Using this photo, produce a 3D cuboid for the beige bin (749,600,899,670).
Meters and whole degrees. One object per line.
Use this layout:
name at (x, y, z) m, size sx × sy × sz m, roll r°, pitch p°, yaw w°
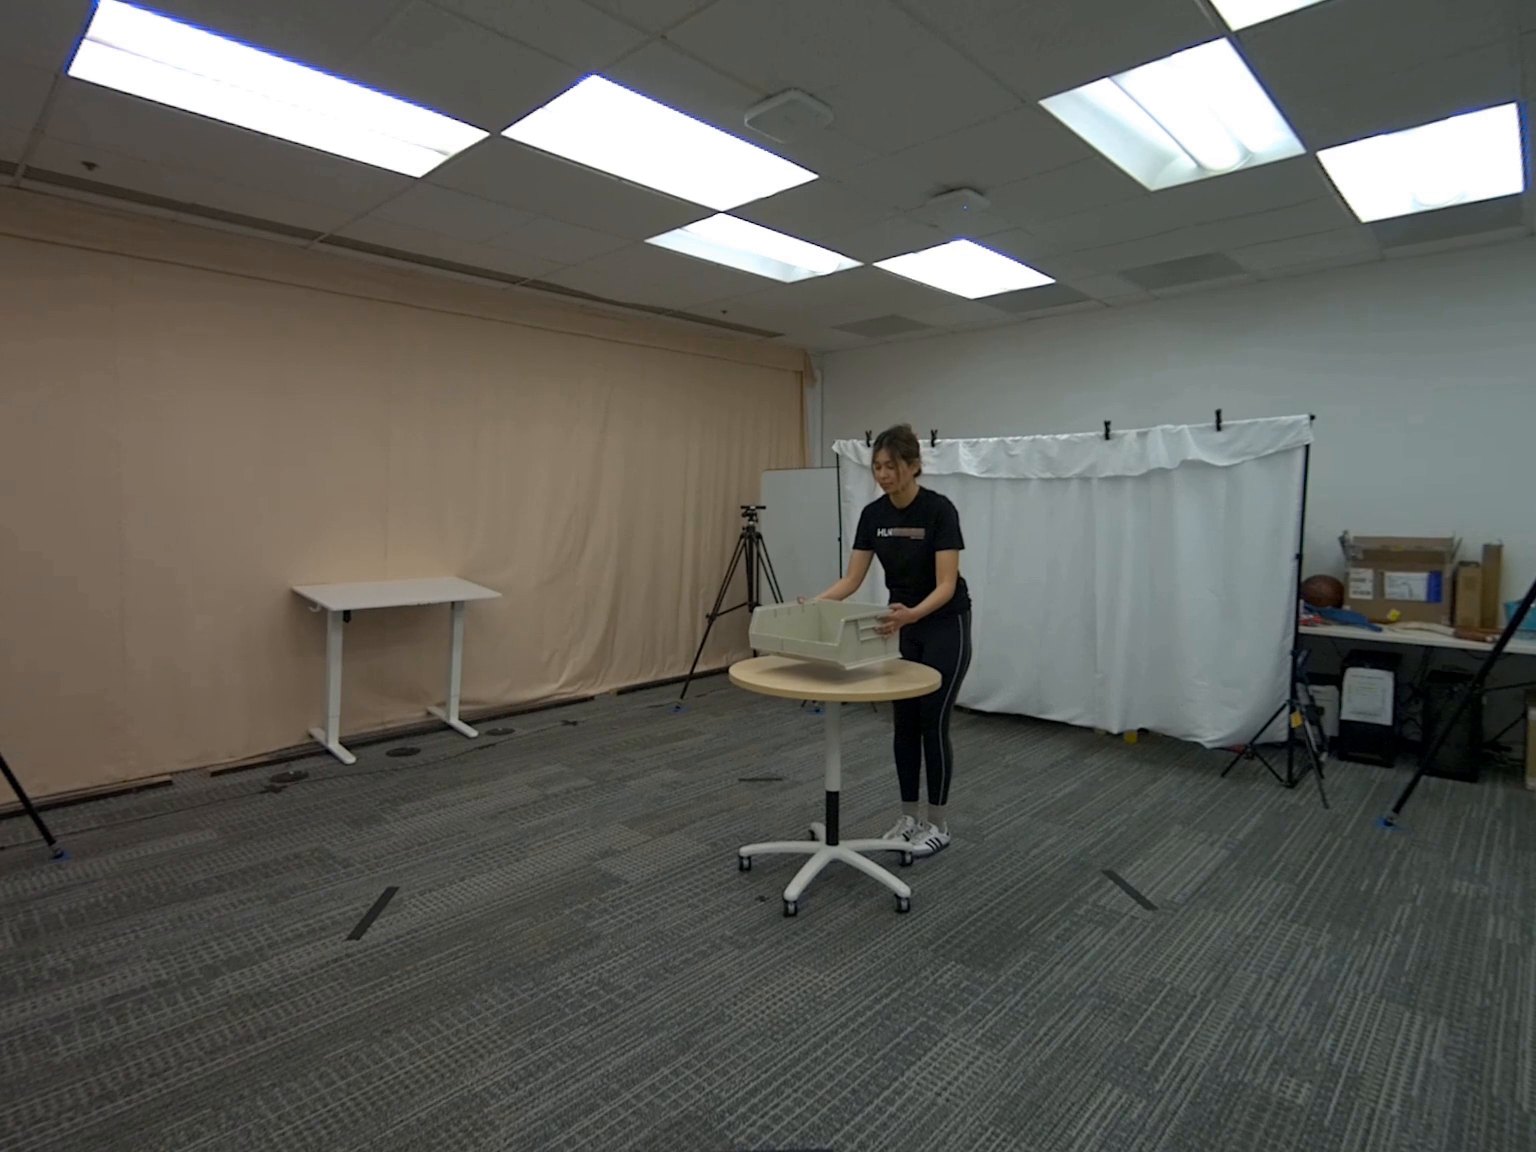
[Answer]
beige bin at (0.214, 0.207, 3.040) m, size 0.366 × 0.188 × 0.436 m, roll -4°, pitch 5°, yaw -44°
